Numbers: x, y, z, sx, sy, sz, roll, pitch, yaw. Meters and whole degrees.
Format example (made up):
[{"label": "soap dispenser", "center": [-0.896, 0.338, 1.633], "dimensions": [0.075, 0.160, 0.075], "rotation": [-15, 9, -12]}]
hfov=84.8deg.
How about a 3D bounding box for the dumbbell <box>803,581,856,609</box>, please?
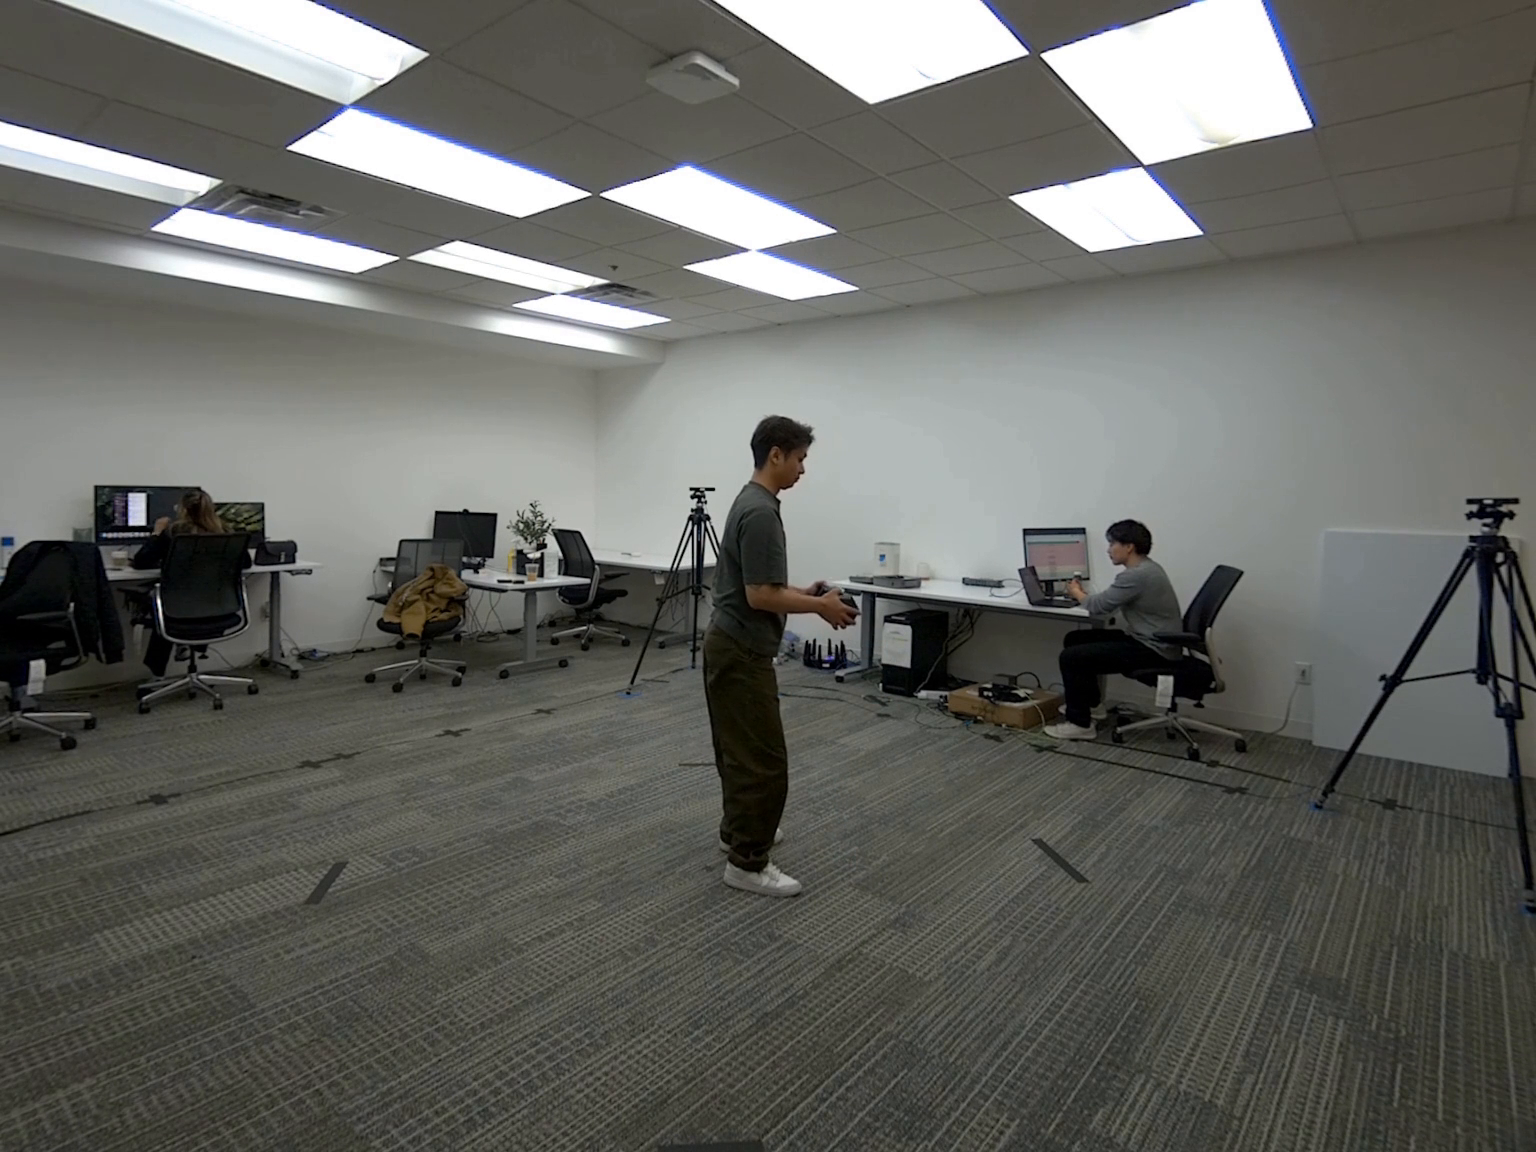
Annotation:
[{"label": "dumbbell", "center": [0.227, 0.101, 3.111], "dimensions": [0.122, 0.108, 0.296], "rotation": [-1, 4, -6]}]
